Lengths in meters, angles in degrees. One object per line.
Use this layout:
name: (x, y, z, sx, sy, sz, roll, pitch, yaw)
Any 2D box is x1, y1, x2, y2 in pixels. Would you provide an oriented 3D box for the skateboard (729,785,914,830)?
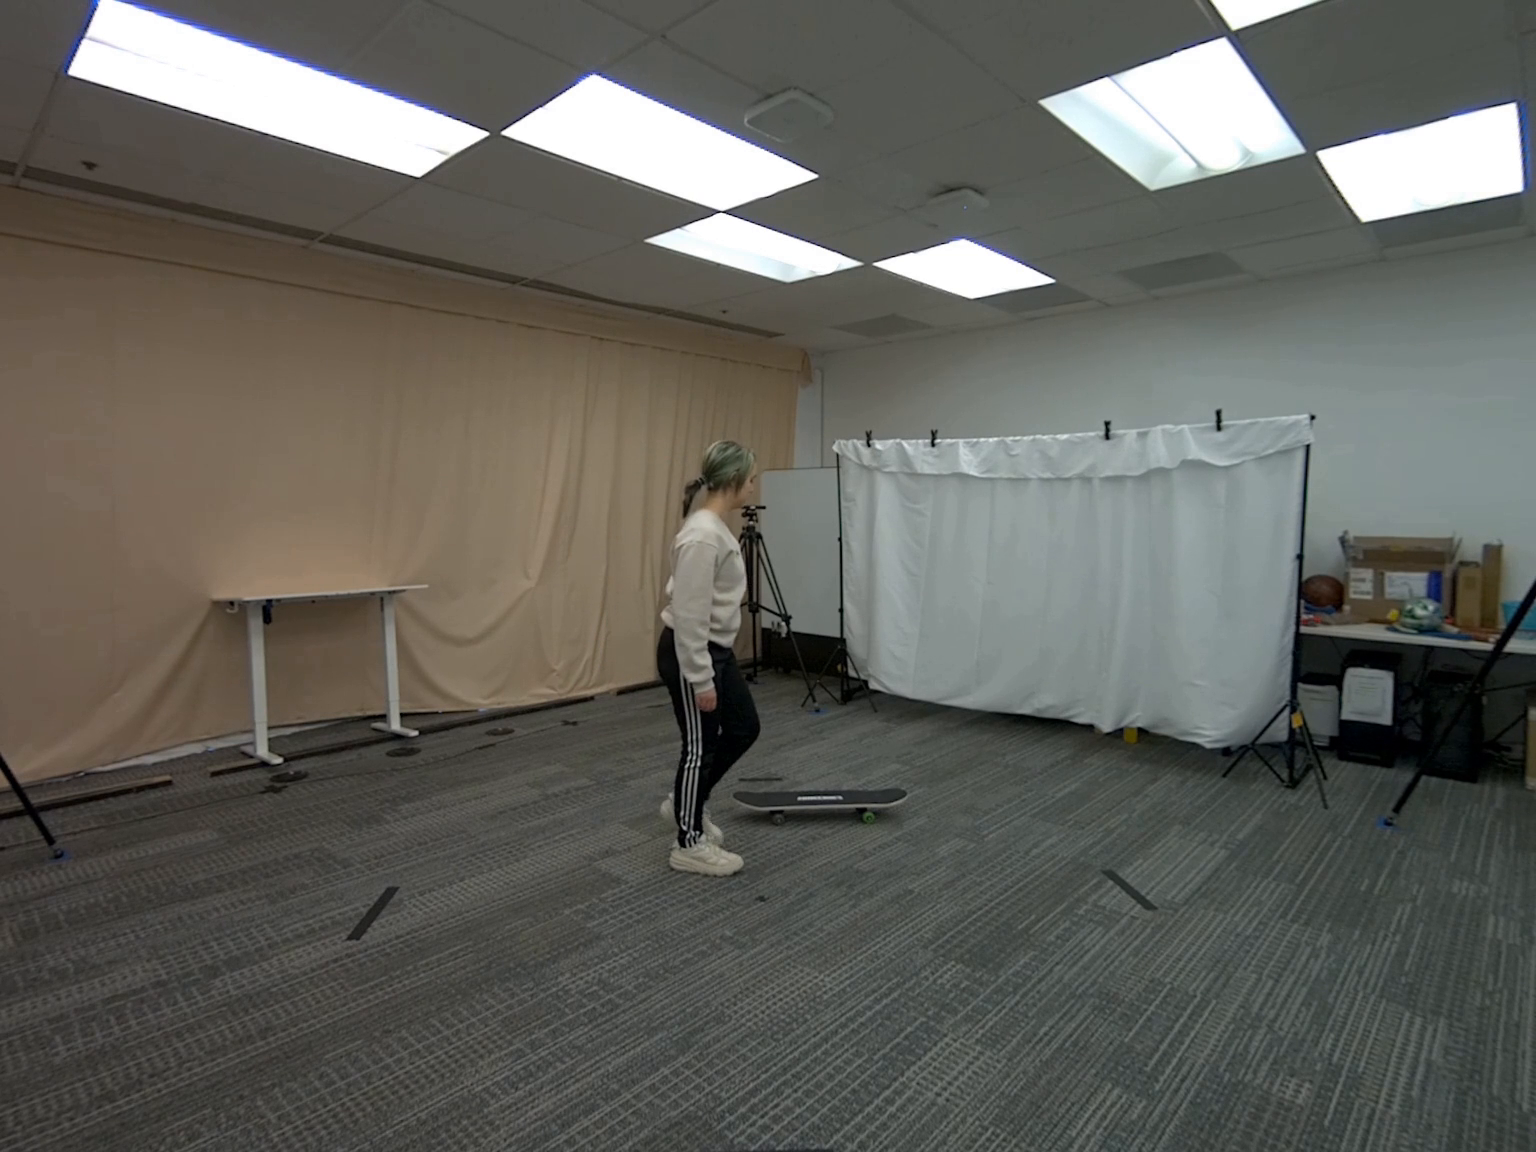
skateboard: (0.228, 1.020, 3.753, 0.782, 0.110, 0.194, 0, 3, -4)
